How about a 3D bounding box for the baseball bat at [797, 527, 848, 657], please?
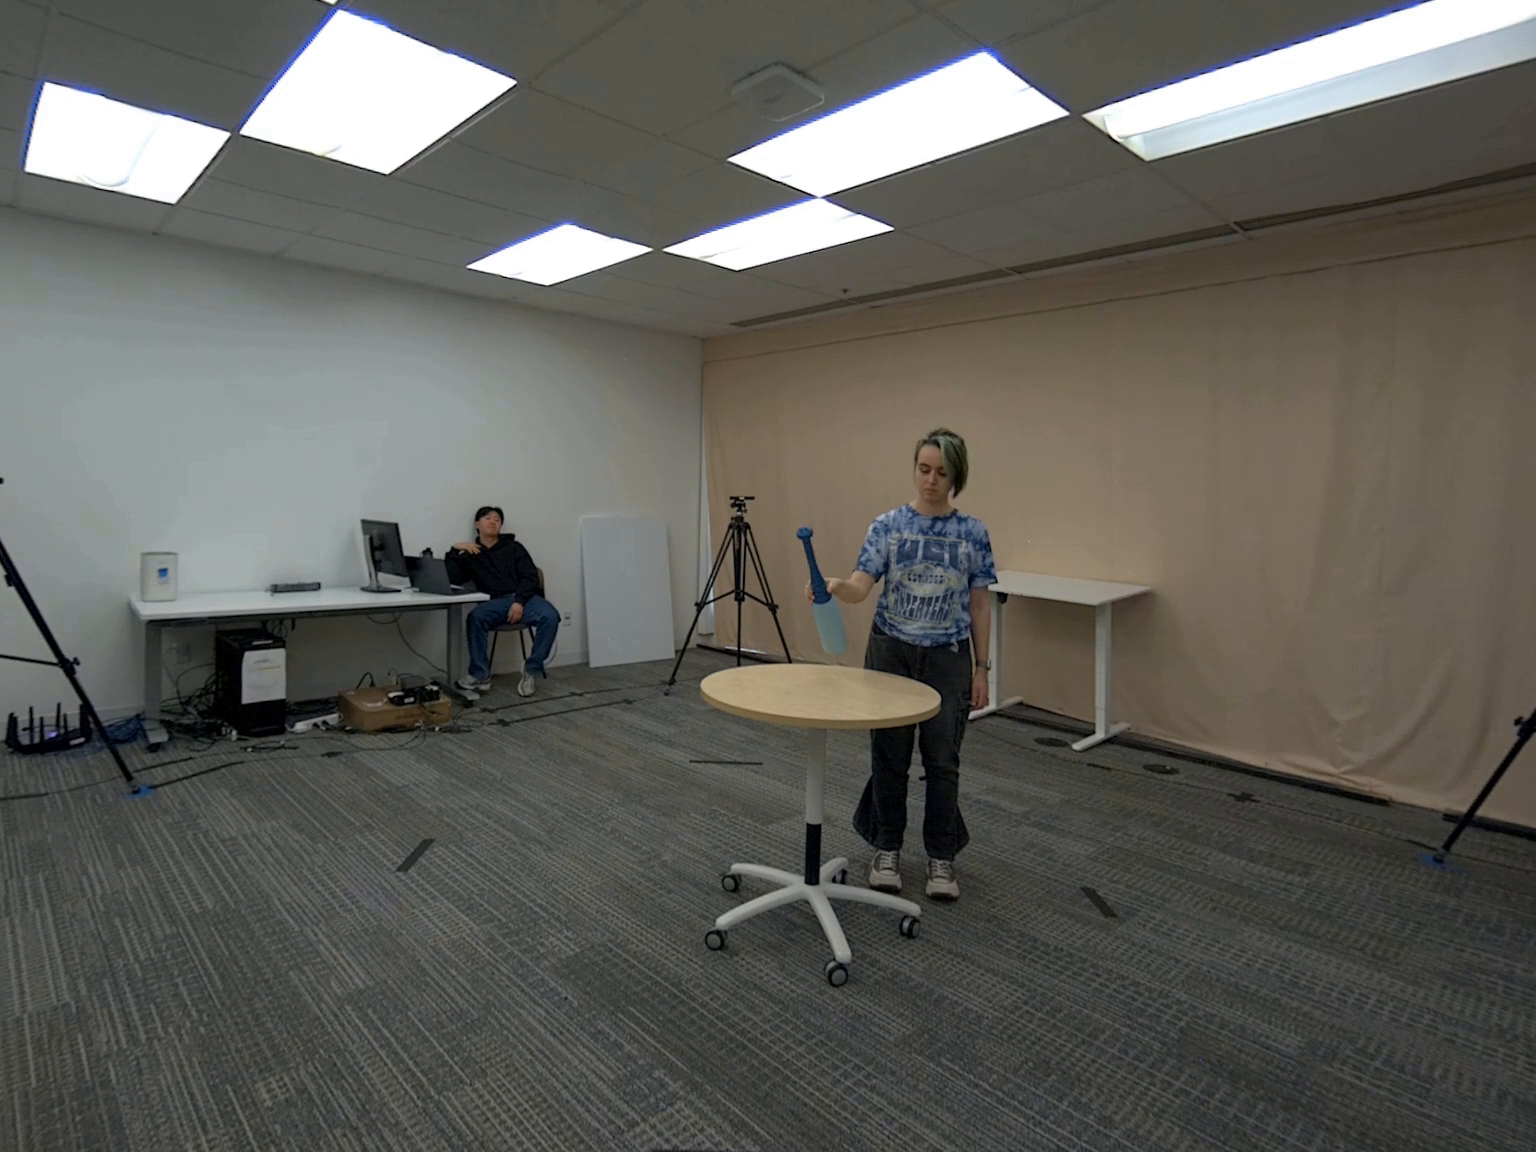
[{"bbox_3d":[0.168,0.058,2.711,0.089,0.528,0.091,-10,40,7],"label":"baseball bat"}]
